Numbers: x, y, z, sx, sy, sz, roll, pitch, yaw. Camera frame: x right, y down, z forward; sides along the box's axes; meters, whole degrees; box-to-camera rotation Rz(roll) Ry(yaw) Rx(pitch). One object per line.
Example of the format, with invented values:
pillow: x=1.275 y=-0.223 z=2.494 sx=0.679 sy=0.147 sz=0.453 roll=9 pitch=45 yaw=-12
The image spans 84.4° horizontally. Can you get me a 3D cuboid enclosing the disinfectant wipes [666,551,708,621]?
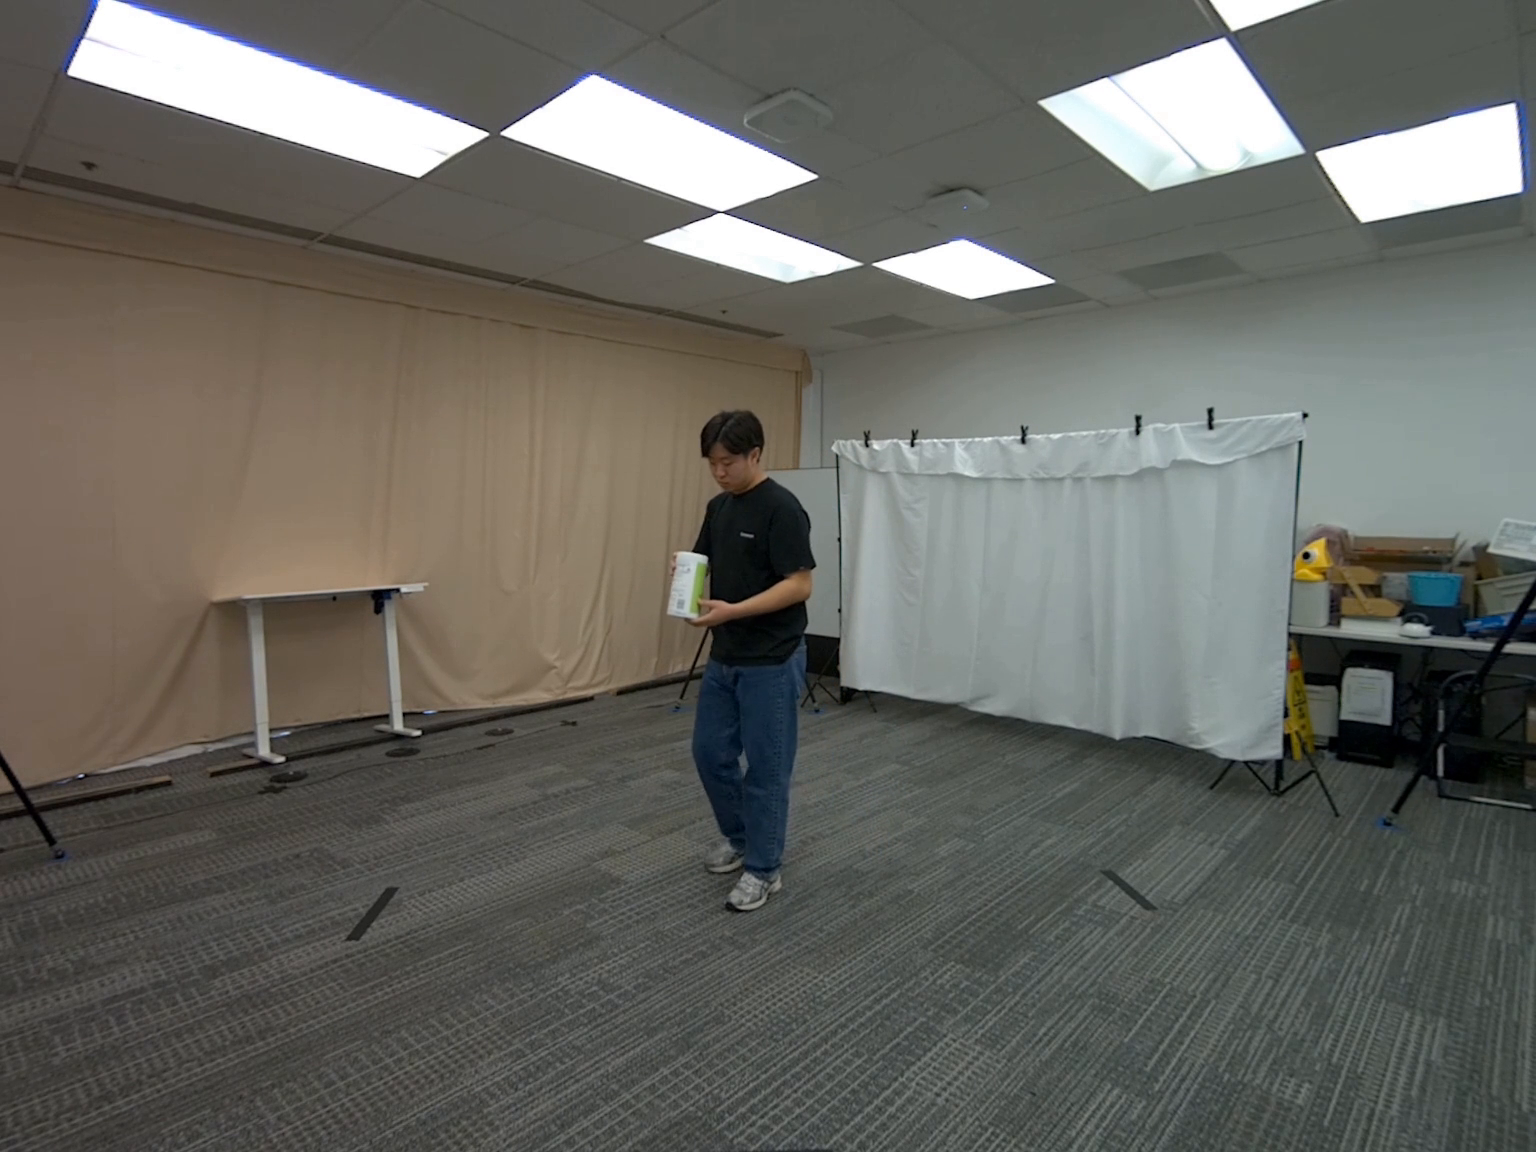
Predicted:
disinfectant wipes: x=-0.267 y=0.039 z=2.823 sx=0.118 sy=0.218 sz=0.118 roll=8 pitch=-2 yaw=-2
